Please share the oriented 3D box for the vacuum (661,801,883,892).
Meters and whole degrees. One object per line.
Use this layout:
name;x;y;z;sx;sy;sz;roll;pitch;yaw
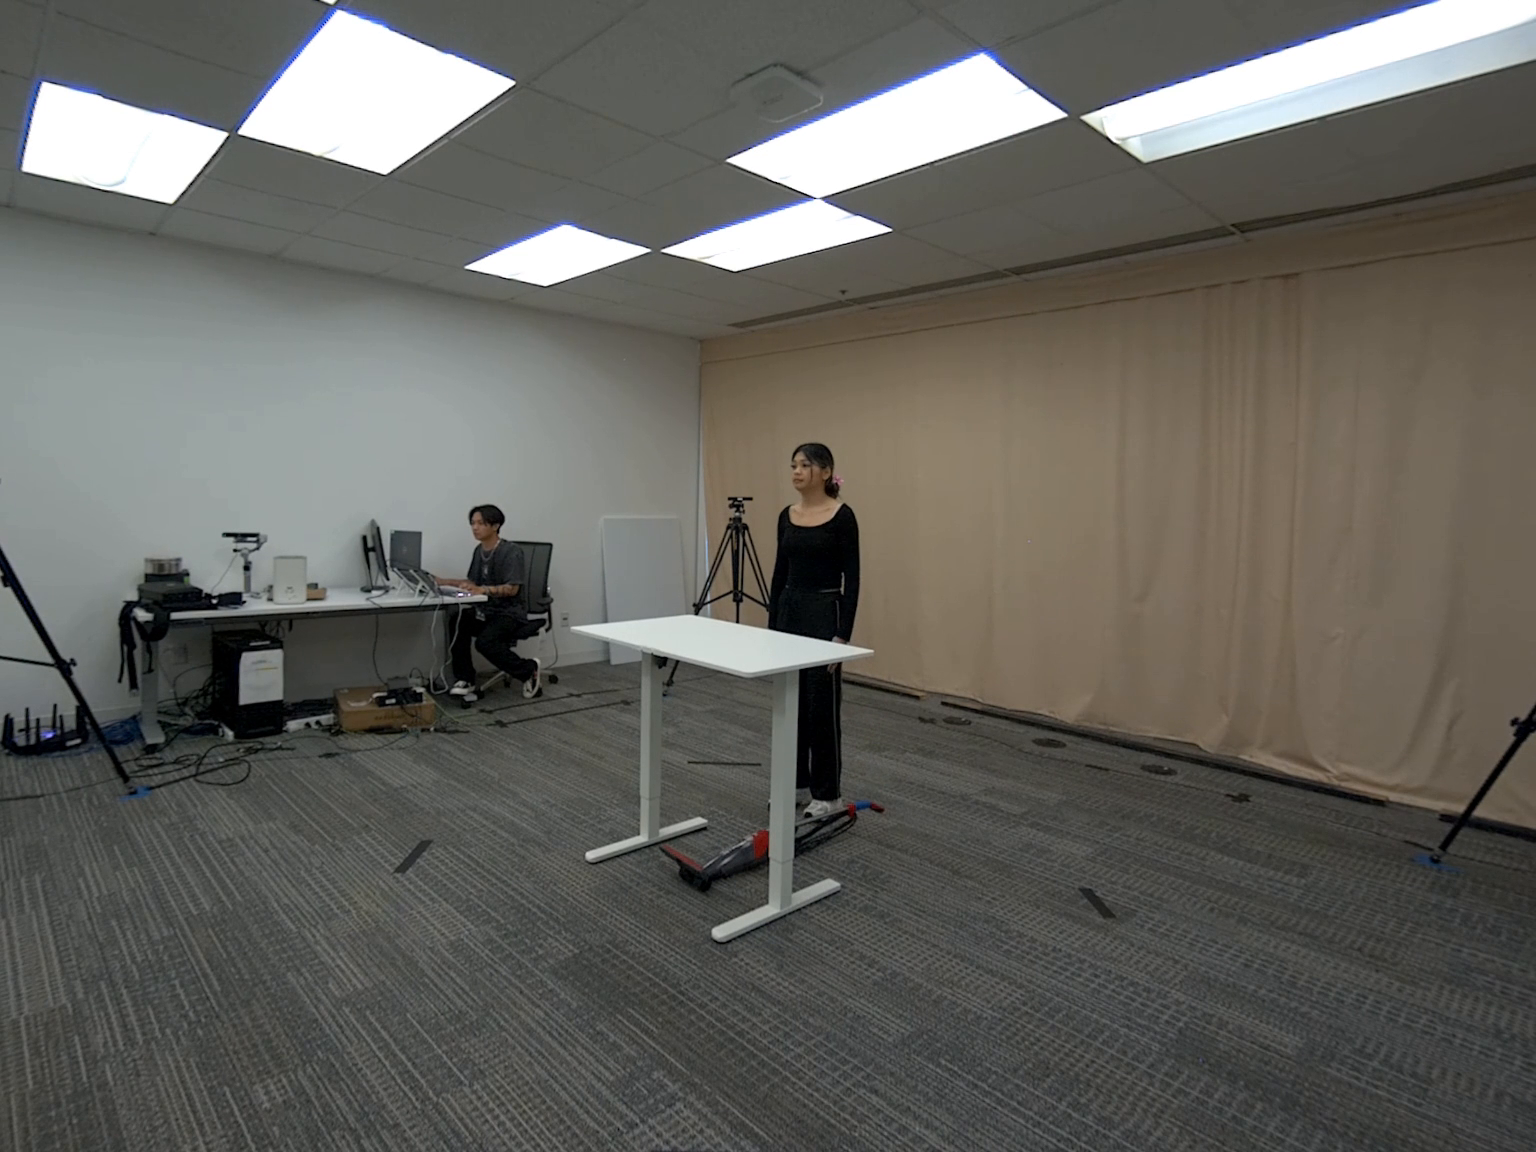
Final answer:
vacuum;0.094;1.041;3.330;1.025;0.143;0.259;-2;6;-40
